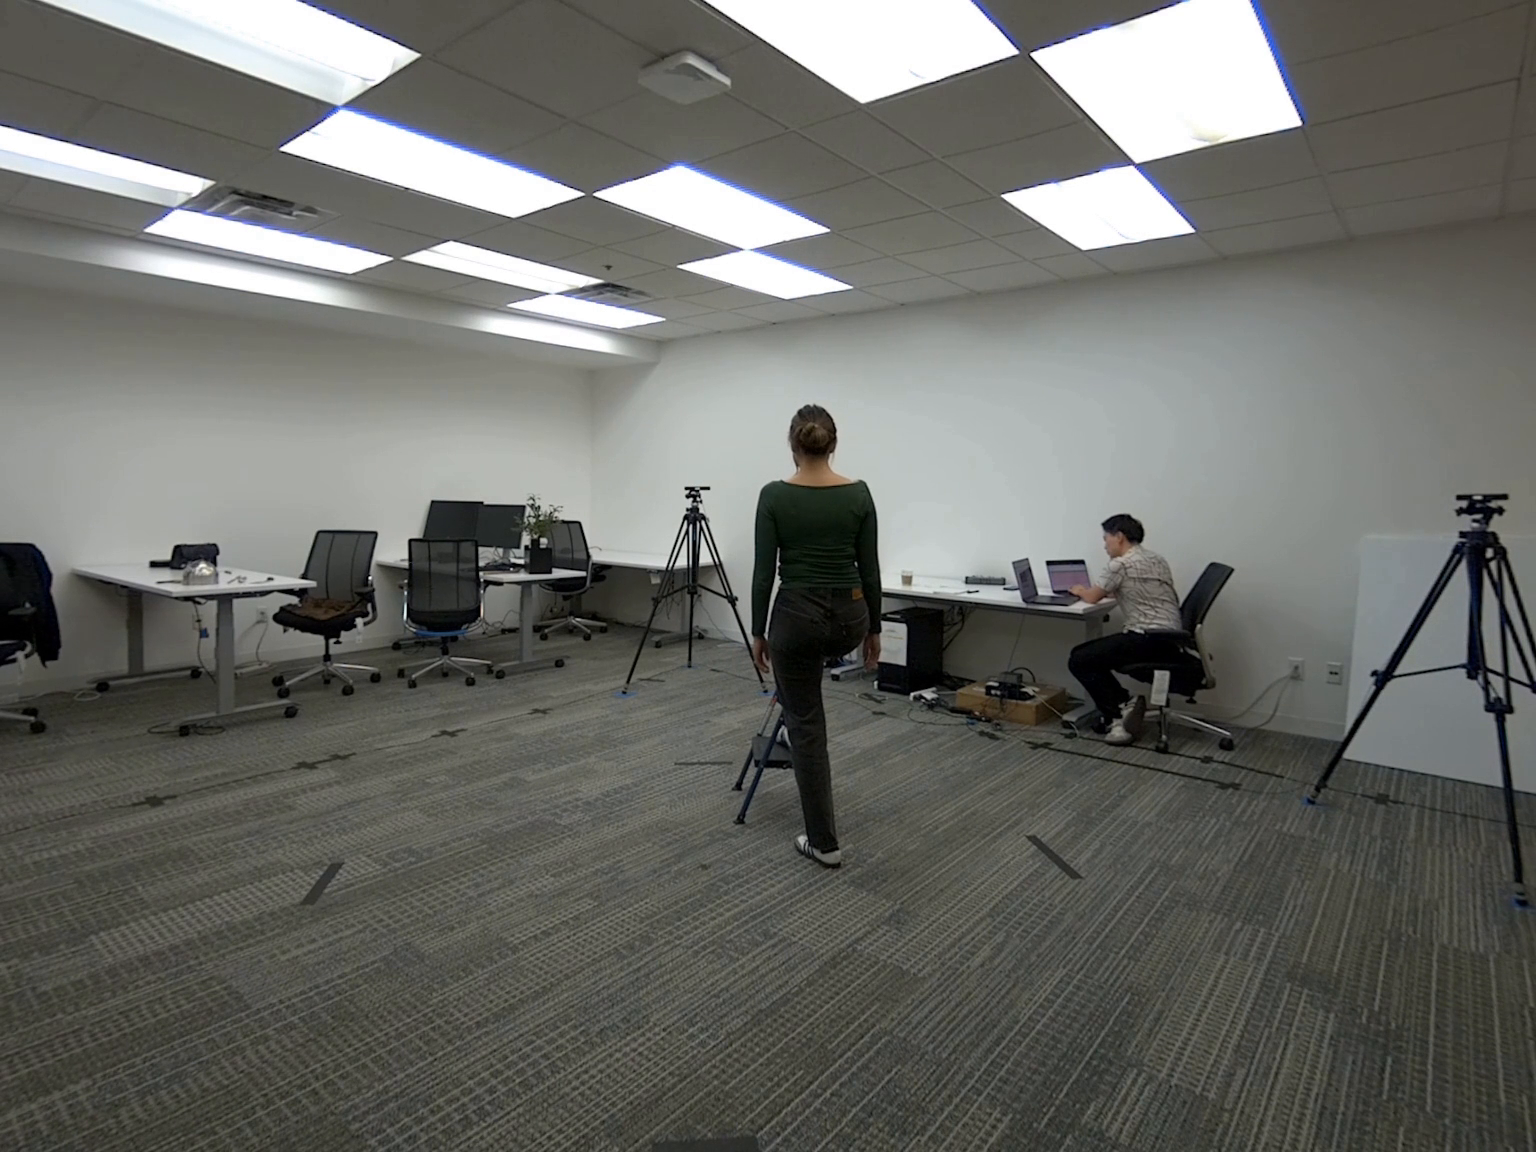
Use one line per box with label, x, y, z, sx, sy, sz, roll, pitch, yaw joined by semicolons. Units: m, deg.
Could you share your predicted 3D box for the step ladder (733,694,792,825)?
step ladder;0.016;0.710;3.721;0.349;0.604;0.433;0;3;-3
